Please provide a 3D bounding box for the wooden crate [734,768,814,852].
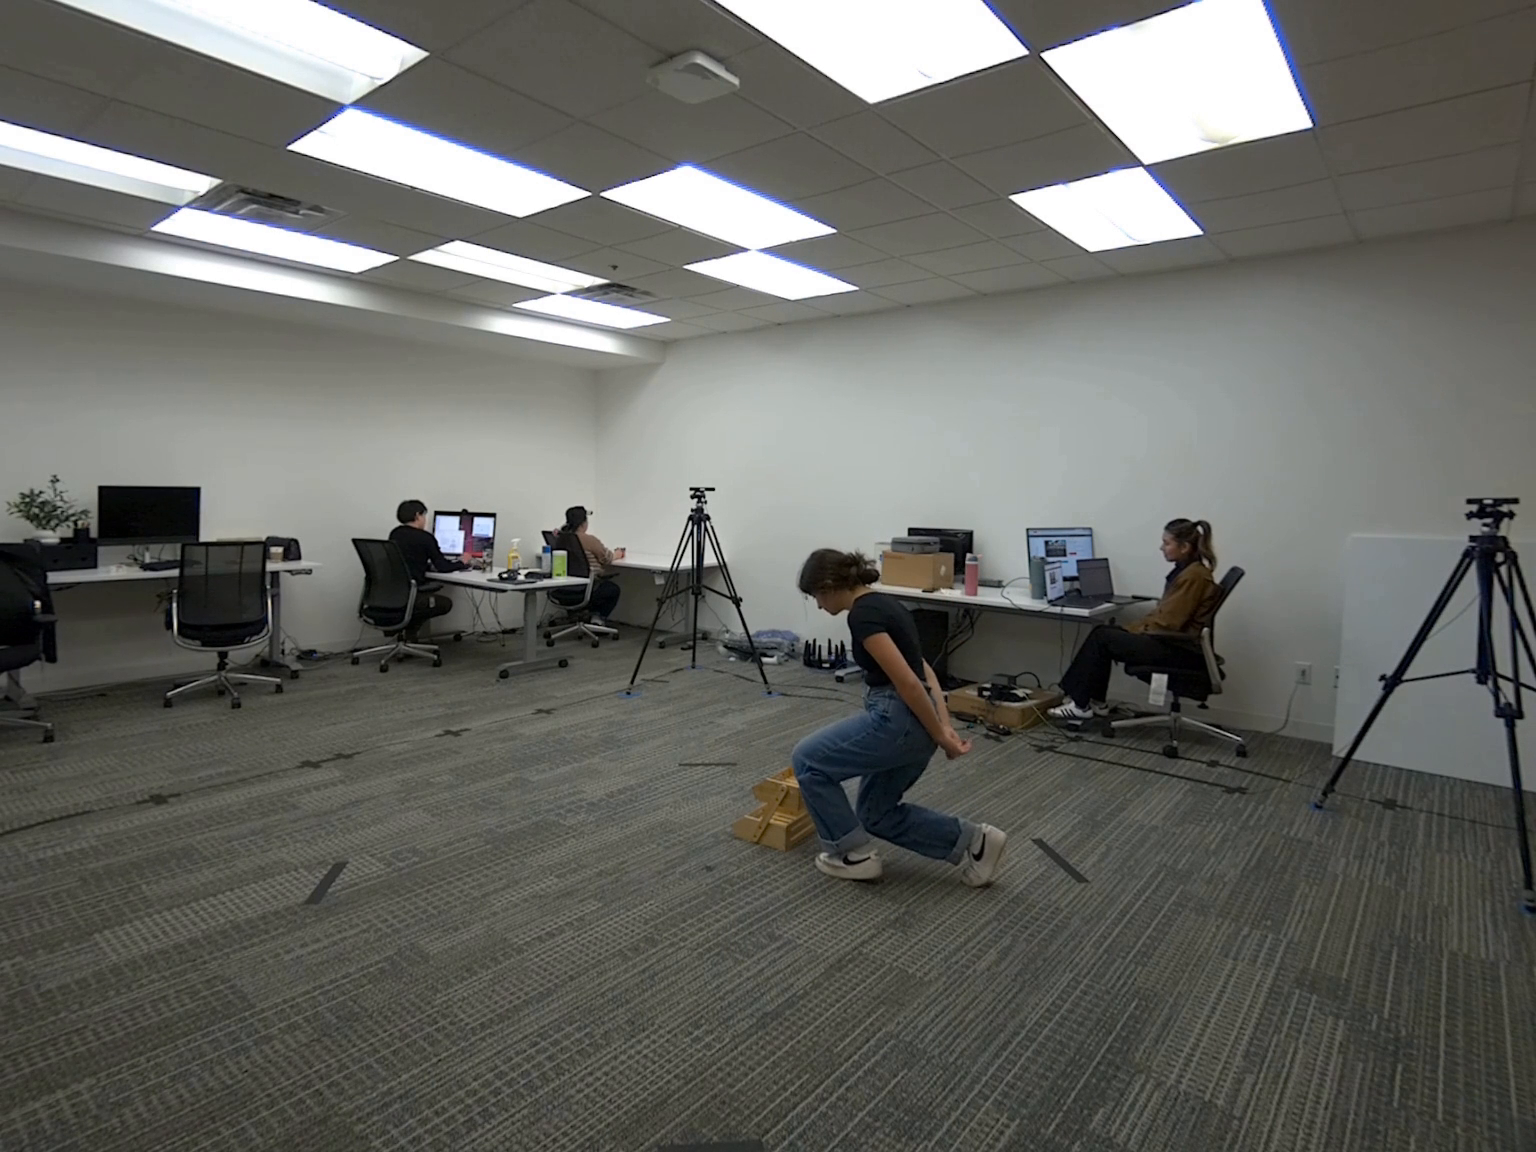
[{"bbox_3d":[0.045,0.908,3.452,0.311,0.272,0.316,4,5,31],"label":"wooden crate"}]
